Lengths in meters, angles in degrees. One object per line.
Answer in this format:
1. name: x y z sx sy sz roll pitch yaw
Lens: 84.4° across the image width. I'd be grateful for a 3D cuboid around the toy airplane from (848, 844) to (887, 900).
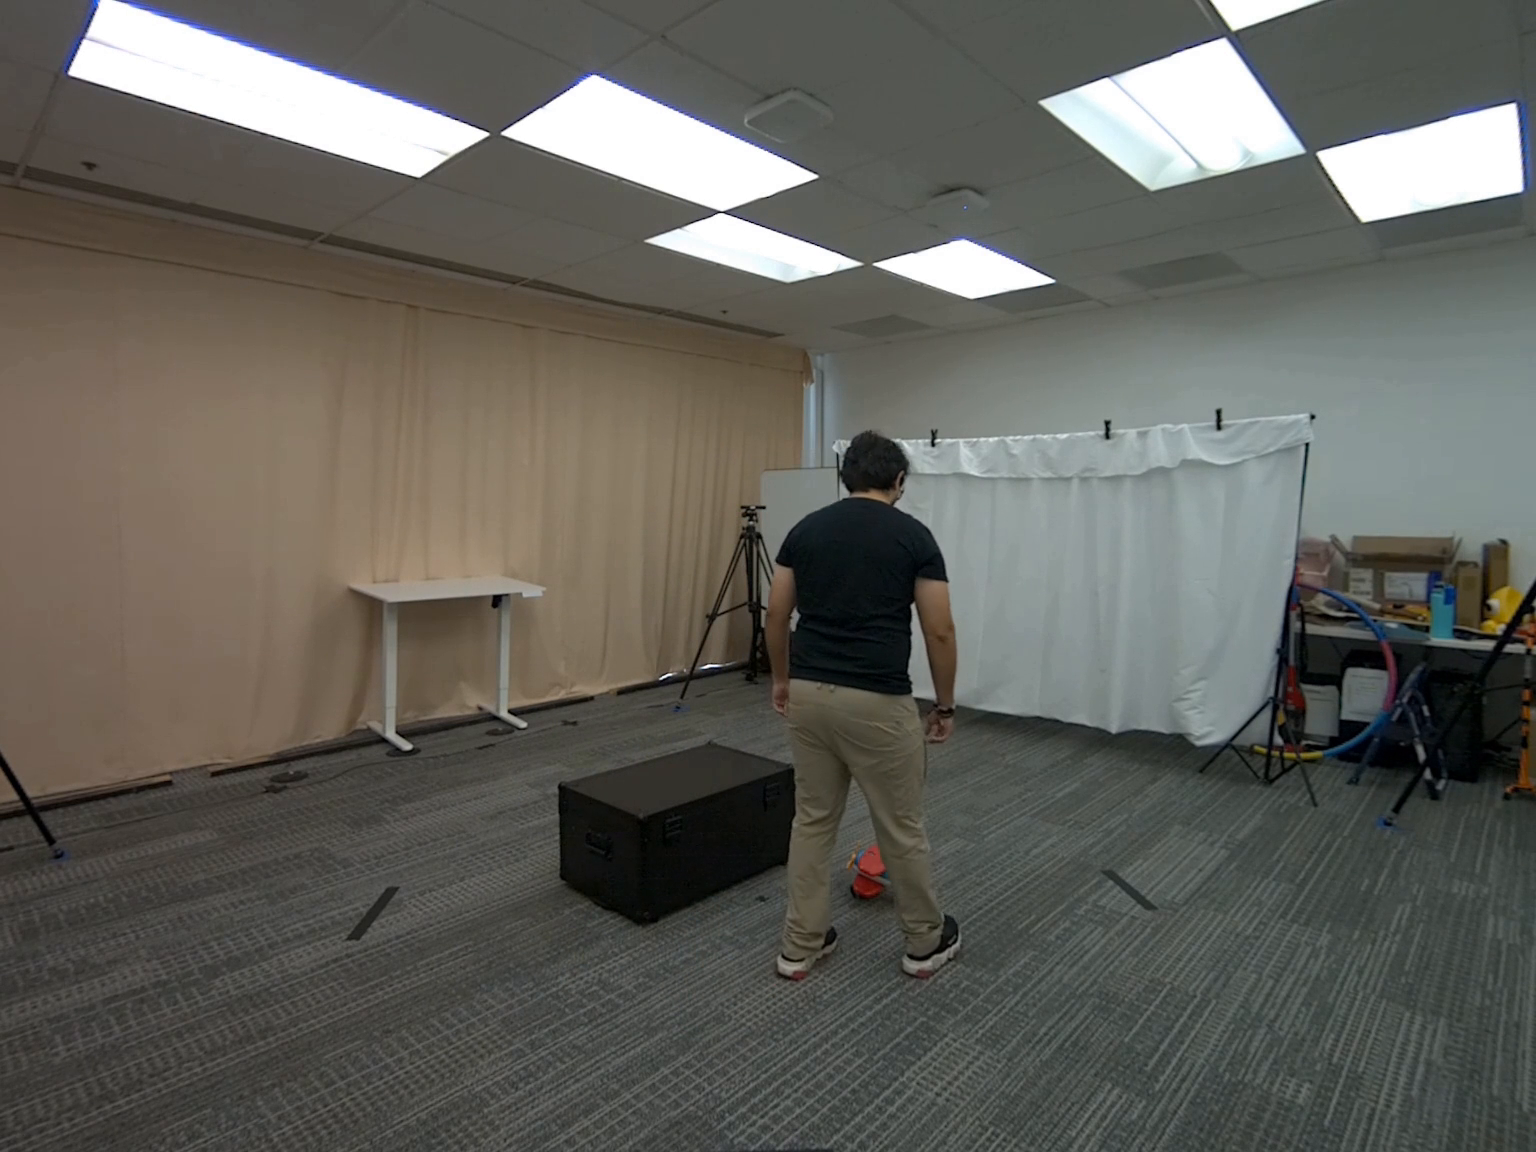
1. toy airplane: 0.425 1.068 2.996 0.259 0.156 0.251 -1 4 0
